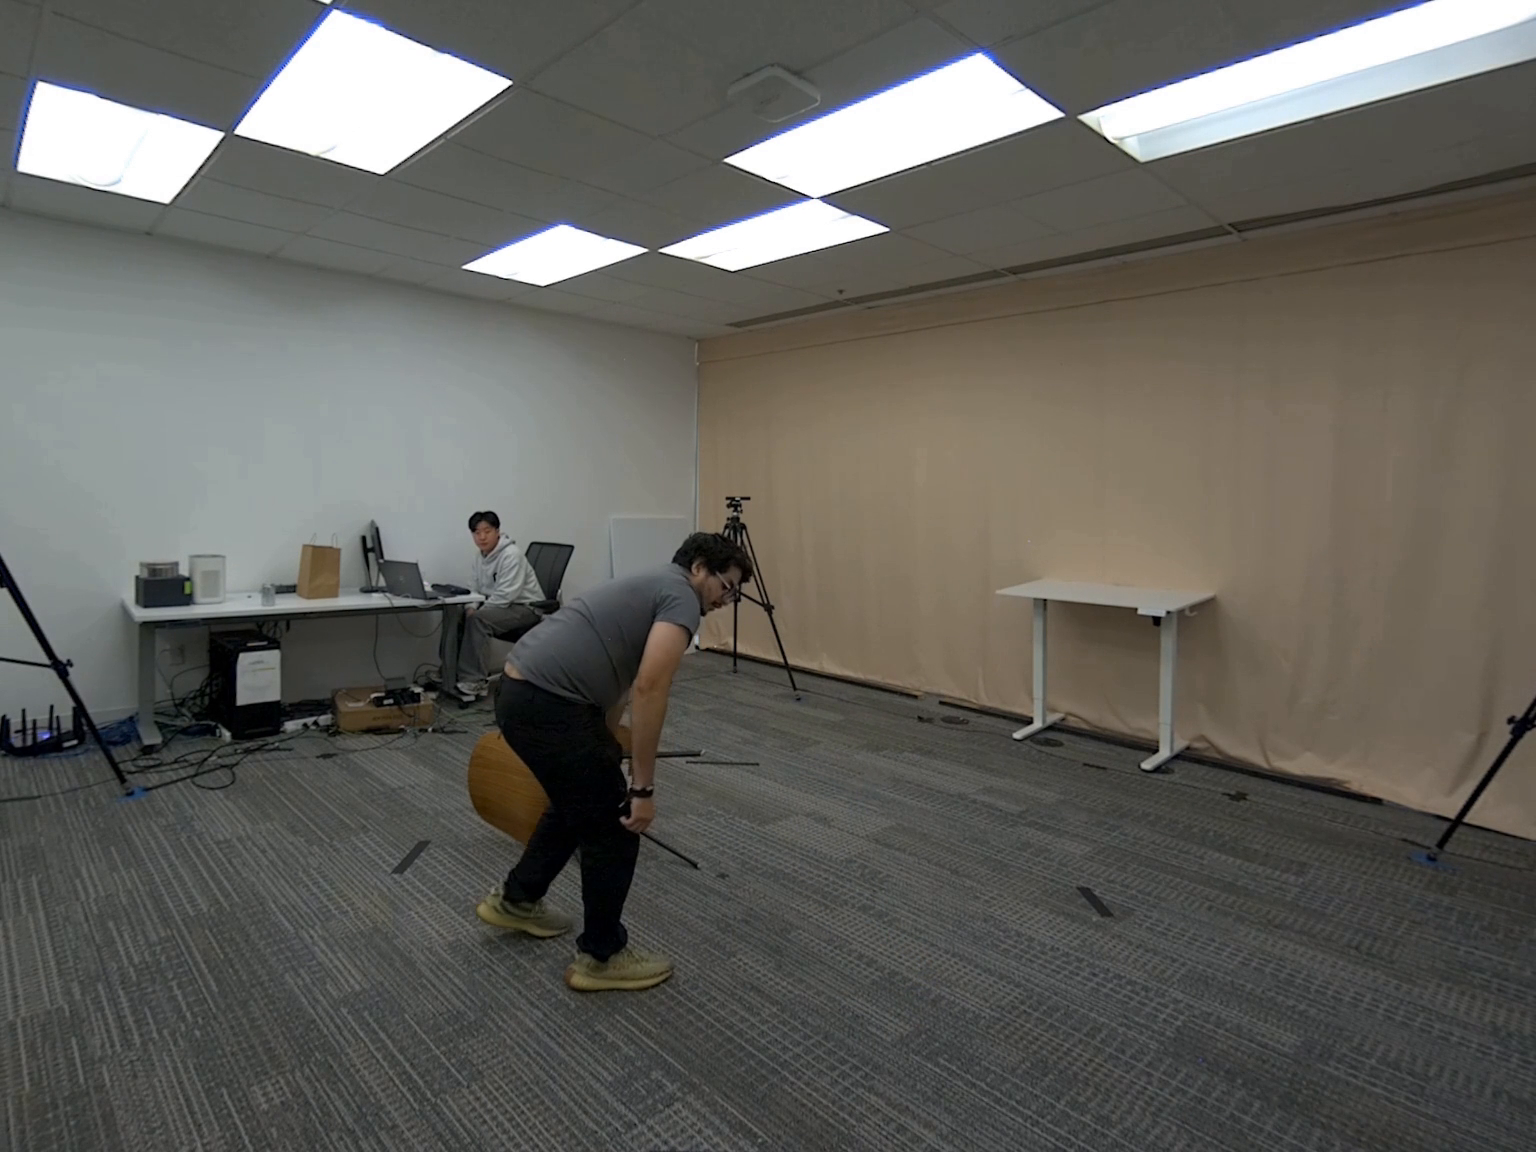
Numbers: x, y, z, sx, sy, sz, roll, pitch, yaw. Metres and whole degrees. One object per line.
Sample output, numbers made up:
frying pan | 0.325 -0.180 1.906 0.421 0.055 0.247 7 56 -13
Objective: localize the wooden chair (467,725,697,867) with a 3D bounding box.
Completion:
wooden chair | -0.713 0.851 3.292 0.900 0.476 0.512 7 7 39
